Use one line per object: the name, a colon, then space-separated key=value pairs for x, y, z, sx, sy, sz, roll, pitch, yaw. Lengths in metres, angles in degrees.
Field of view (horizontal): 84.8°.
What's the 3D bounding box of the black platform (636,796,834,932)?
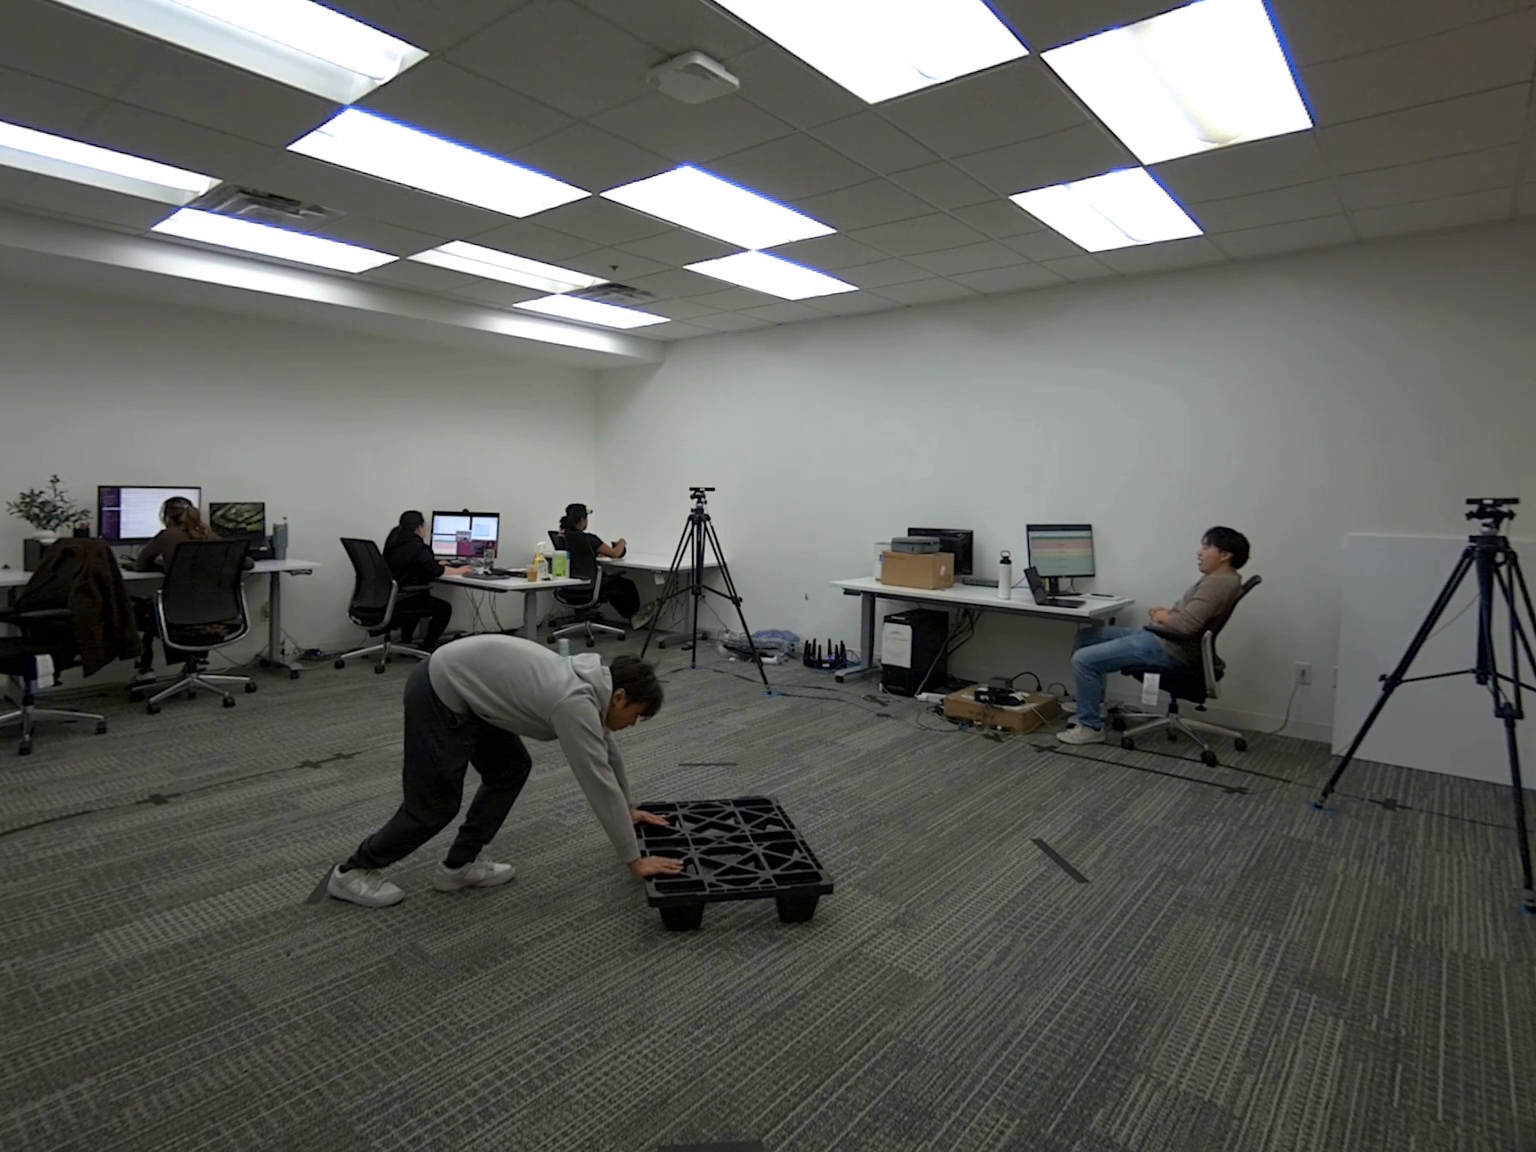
black platform: x=-0.180 y=1.005 z=3.053 sx=0.598 sy=0.143 sz=0.819 roll=0 pitch=6 yaw=-12
